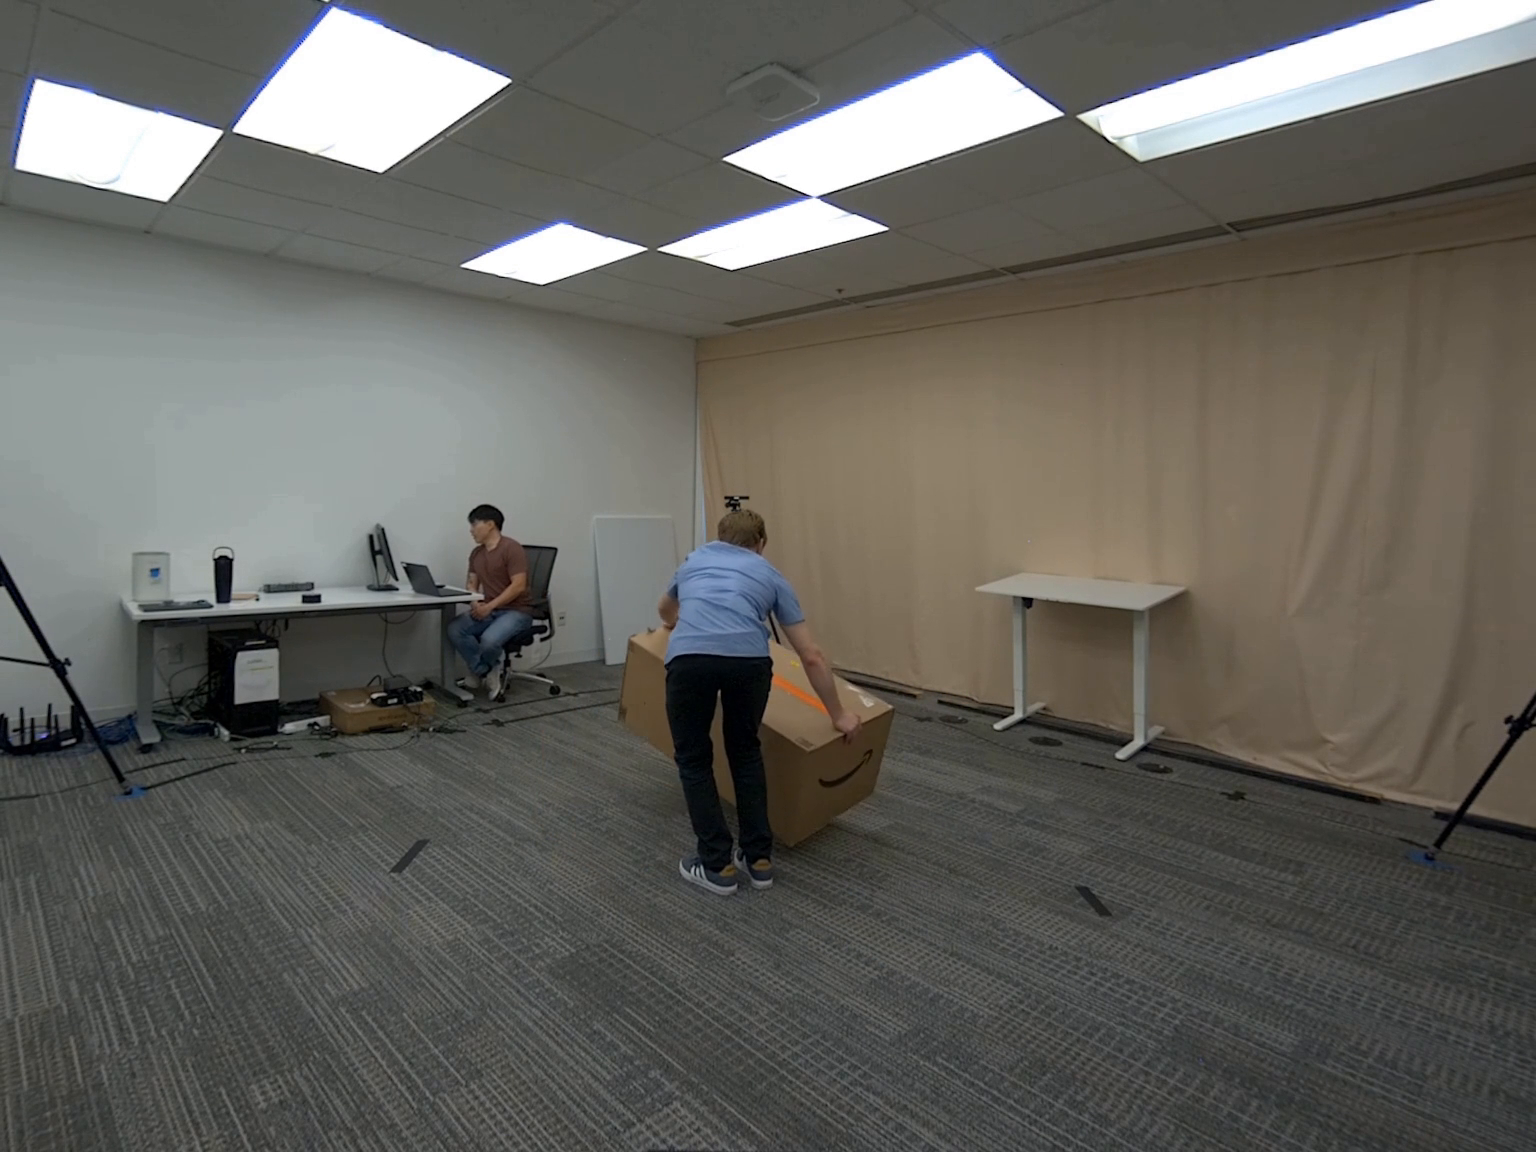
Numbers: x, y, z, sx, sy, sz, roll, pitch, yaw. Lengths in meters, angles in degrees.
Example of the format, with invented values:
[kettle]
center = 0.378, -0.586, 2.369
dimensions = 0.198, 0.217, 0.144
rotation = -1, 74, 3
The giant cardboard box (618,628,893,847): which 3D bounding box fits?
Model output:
[giant cardboard box]
center = -0.090, 0.590, 3.600
dimensions = 1.058, 0.441, 0.573
rotation = 26, 27, 36
